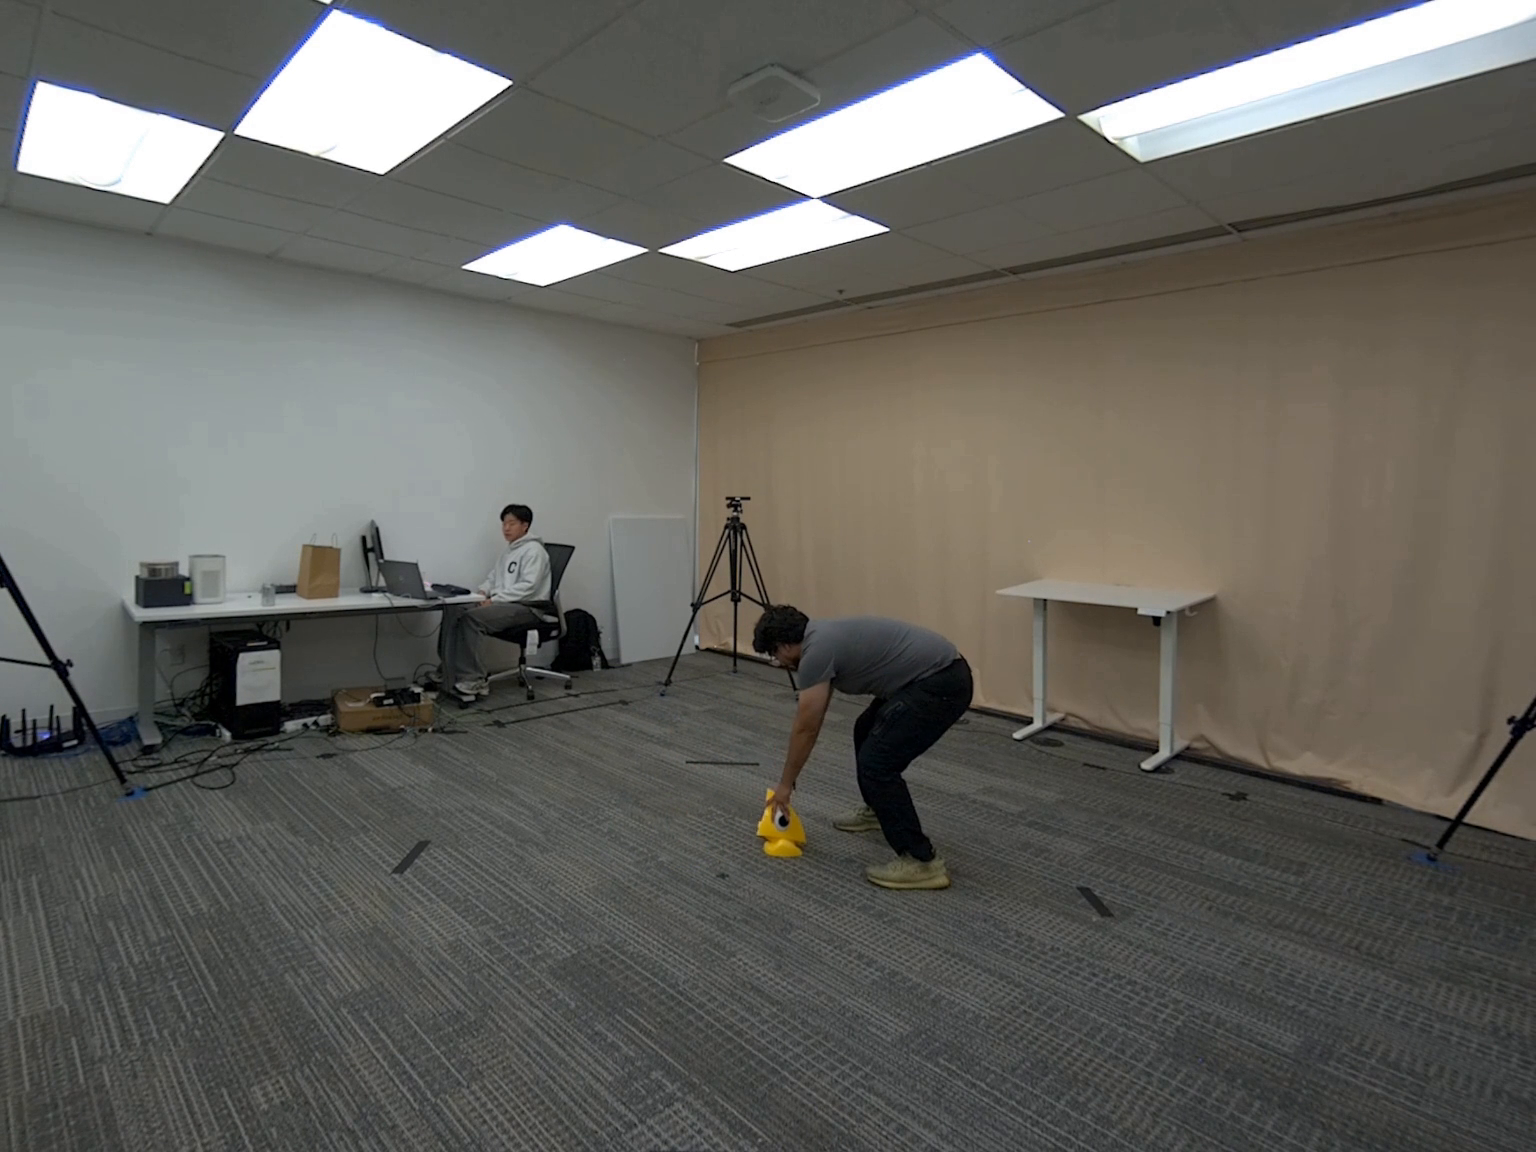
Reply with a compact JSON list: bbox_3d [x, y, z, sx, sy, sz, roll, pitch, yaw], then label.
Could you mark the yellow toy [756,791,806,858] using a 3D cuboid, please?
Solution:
[{"bbox_3d":[0.051,0.974,3.378,0.194,0.230,0.204,1,4,8],"label":"yellow toy"}]
